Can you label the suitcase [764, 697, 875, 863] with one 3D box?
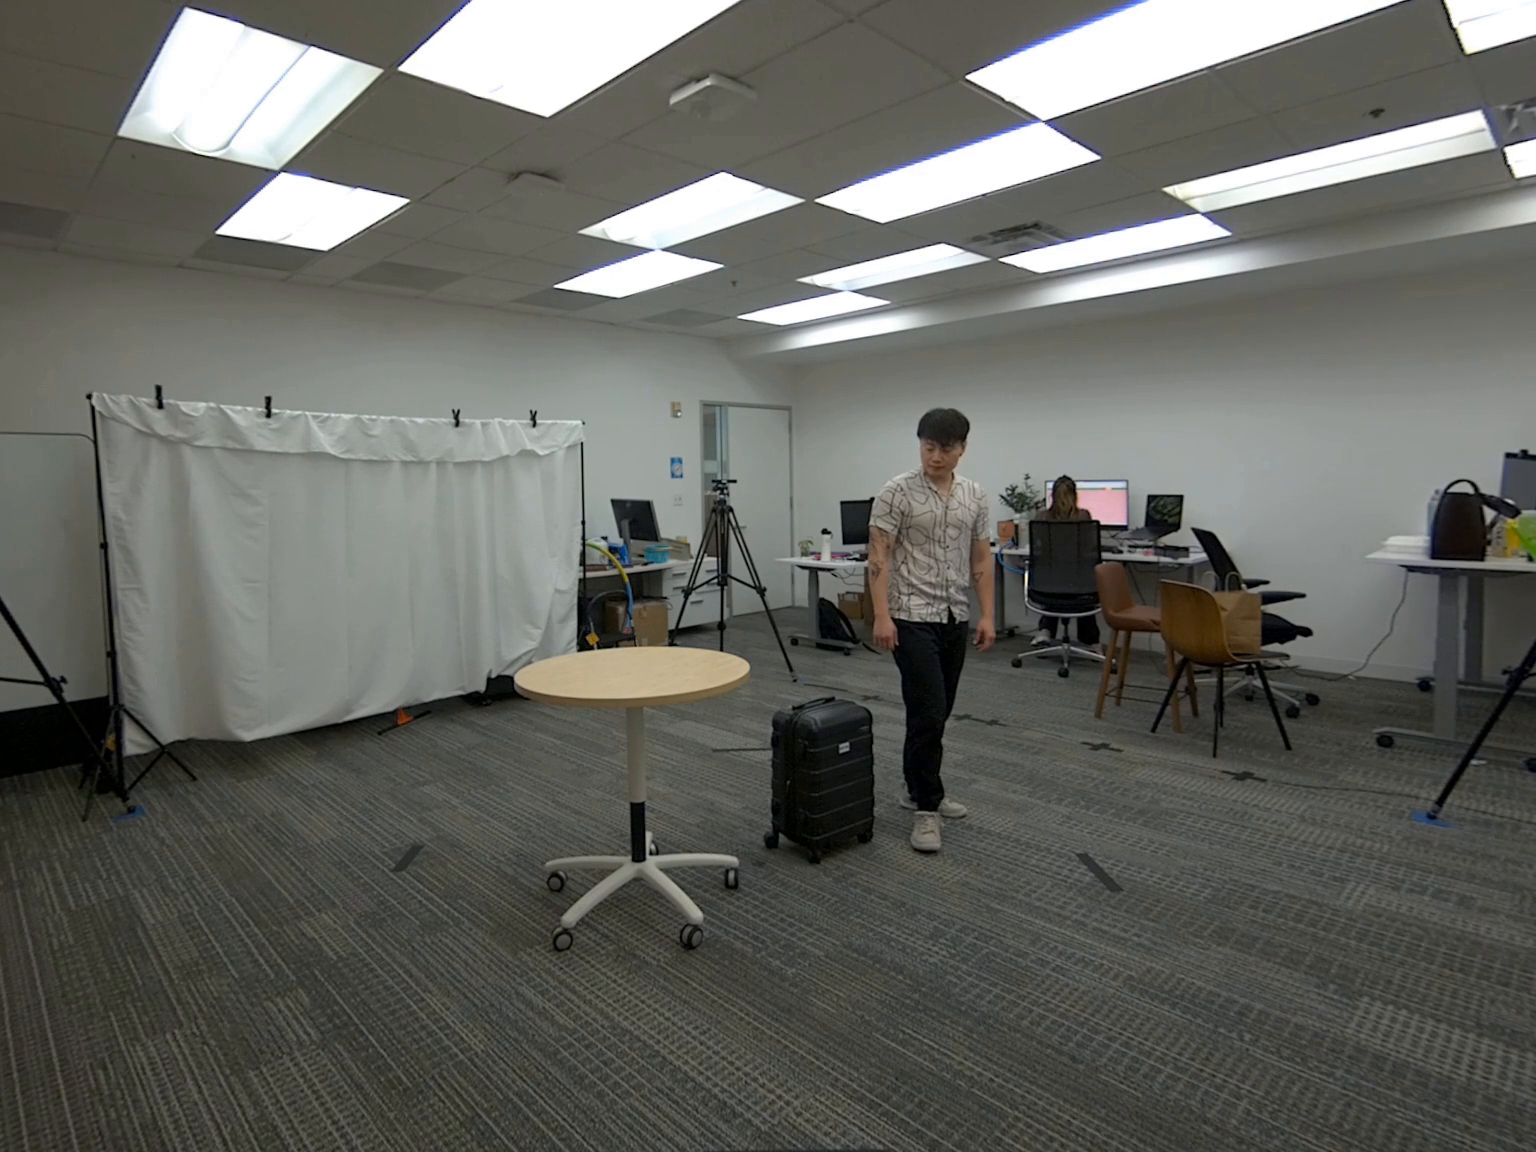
[{"bbox_3d":[0.210,0.749,3.250,0.365,0.547,0.256,-4,7,-40],"label":"suitcase"}]
